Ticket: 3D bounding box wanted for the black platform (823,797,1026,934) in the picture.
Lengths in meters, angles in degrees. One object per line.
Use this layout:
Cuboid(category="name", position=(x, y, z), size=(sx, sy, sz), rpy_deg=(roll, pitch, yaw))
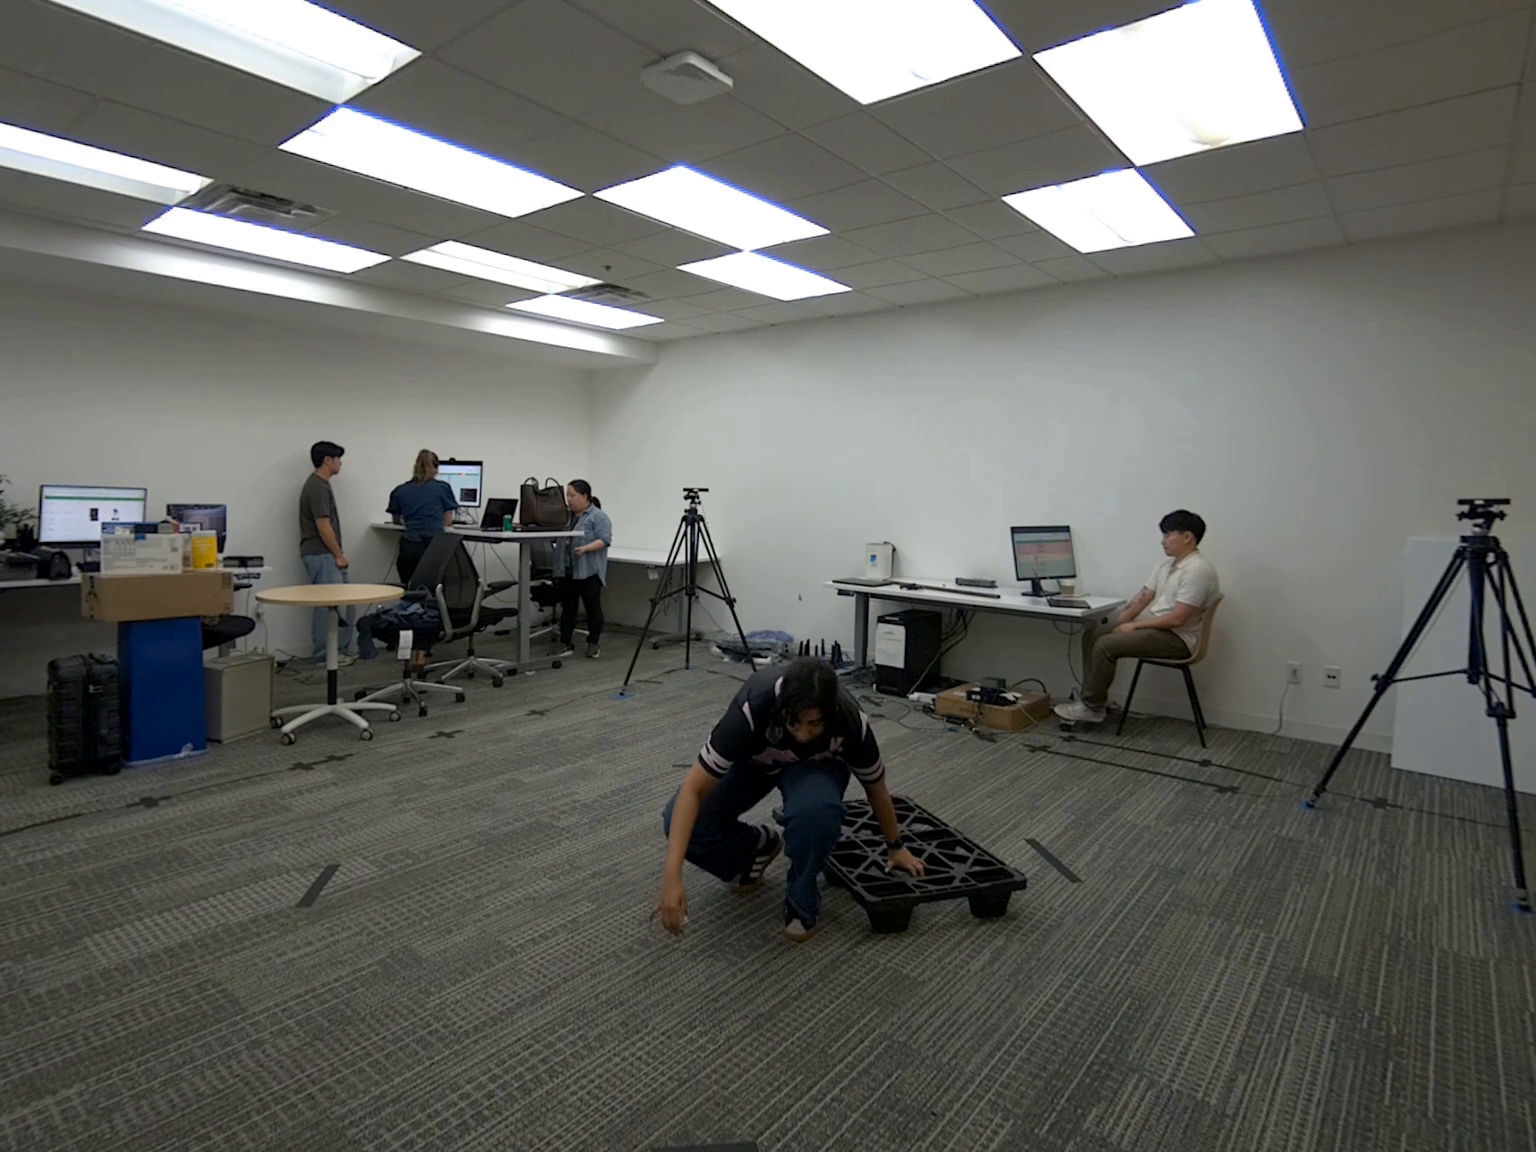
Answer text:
Cuboid(category="black platform", position=(0.430, 1.018, 3.083), size=(0.594, 0.143, 0.824), rpy_deg=(-1, 6, -20))
